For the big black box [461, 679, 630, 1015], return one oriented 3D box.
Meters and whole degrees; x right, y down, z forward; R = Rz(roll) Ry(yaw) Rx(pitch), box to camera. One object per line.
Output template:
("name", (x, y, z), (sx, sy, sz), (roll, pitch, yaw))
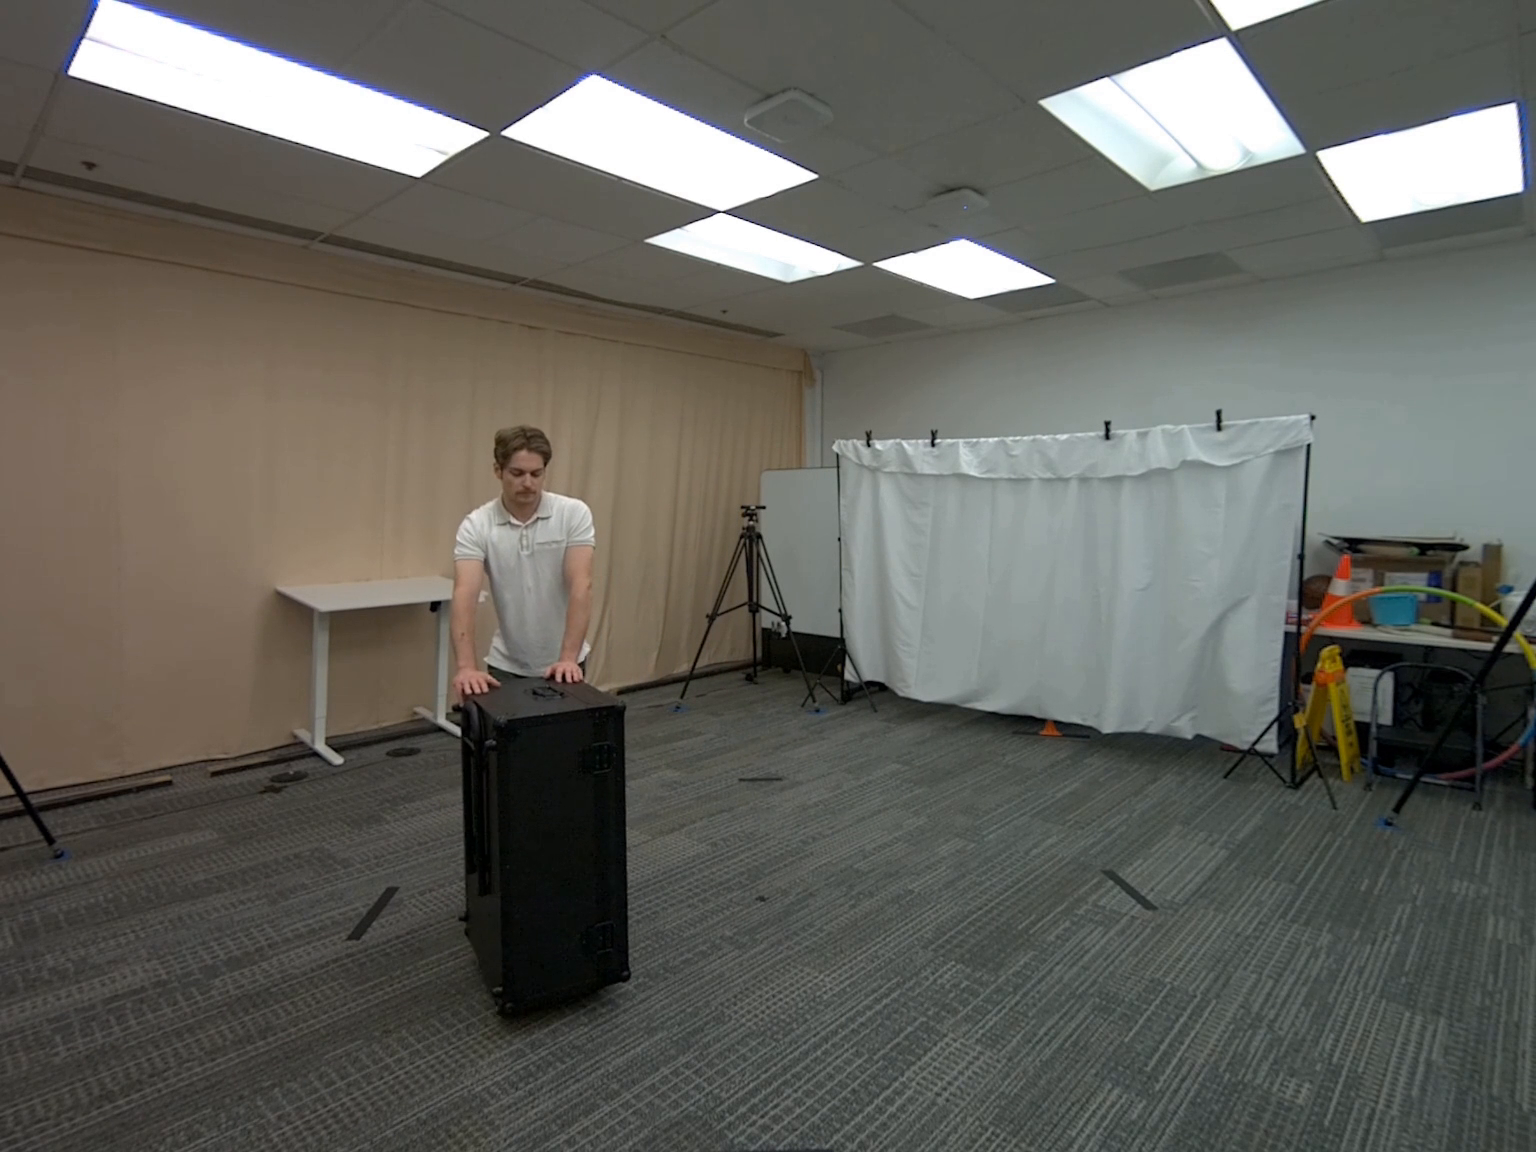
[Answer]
("big black box", (-0.655, 0.771, 2.451), (0.375, 0.867, 0.539), (-2, 3, -31))
